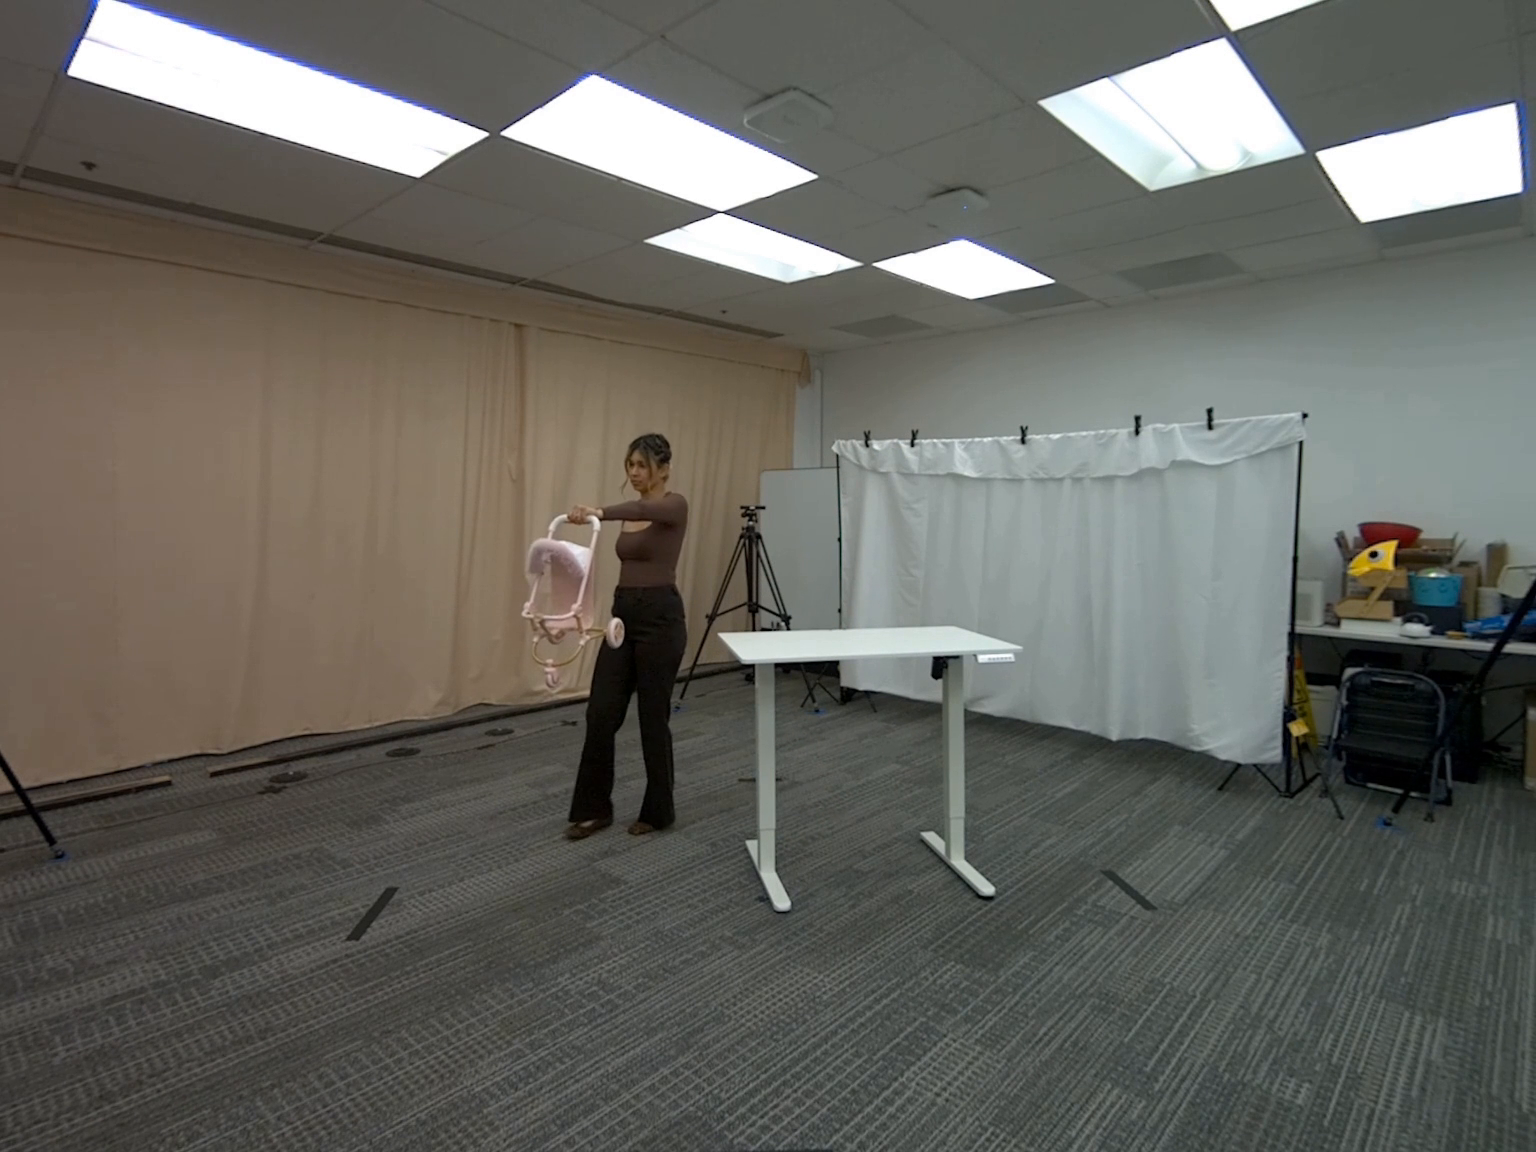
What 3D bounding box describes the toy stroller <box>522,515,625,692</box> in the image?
[{"bbox_3d":[-0.703,0.089,2.946,0.289,0.529,0.336,4,18,24],"label":"toy stroller"}]
